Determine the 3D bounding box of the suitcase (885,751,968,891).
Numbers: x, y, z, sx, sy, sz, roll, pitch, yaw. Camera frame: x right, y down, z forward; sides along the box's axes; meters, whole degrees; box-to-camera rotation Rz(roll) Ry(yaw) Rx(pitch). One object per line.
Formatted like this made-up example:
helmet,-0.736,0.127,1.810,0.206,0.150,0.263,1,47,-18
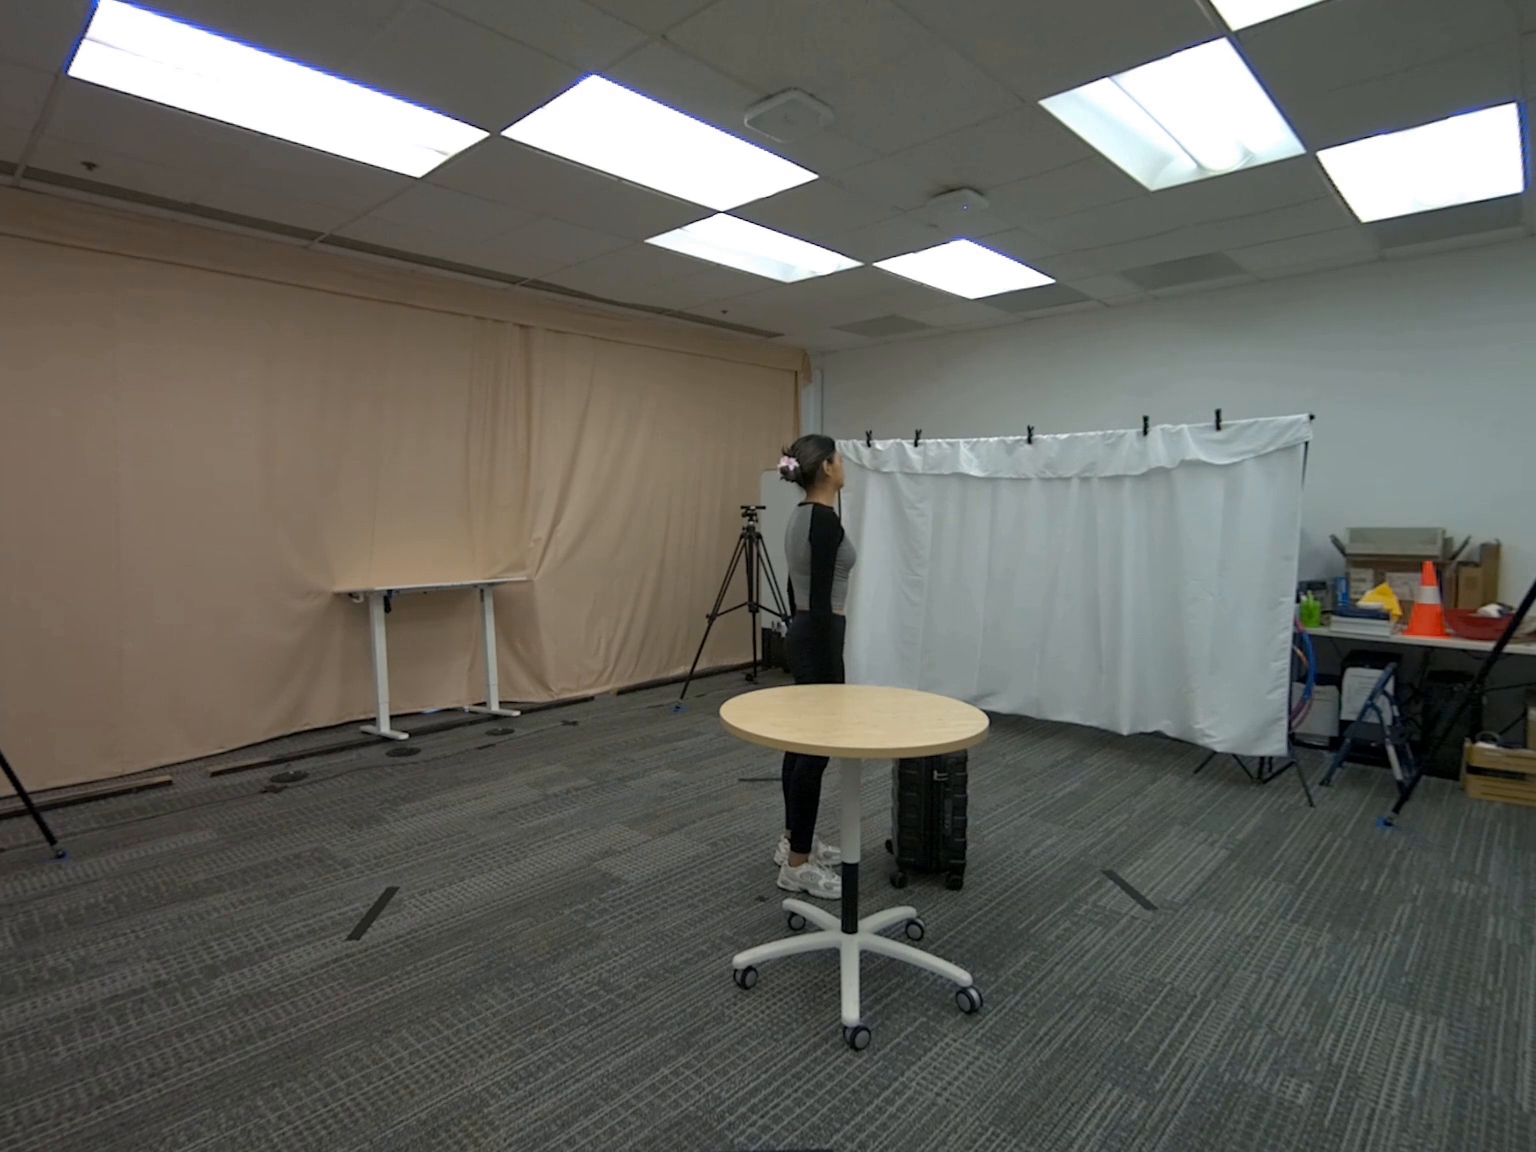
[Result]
suitcase,0.609,0.848,3.198,0.250,0.548,0.373,1,3,6
